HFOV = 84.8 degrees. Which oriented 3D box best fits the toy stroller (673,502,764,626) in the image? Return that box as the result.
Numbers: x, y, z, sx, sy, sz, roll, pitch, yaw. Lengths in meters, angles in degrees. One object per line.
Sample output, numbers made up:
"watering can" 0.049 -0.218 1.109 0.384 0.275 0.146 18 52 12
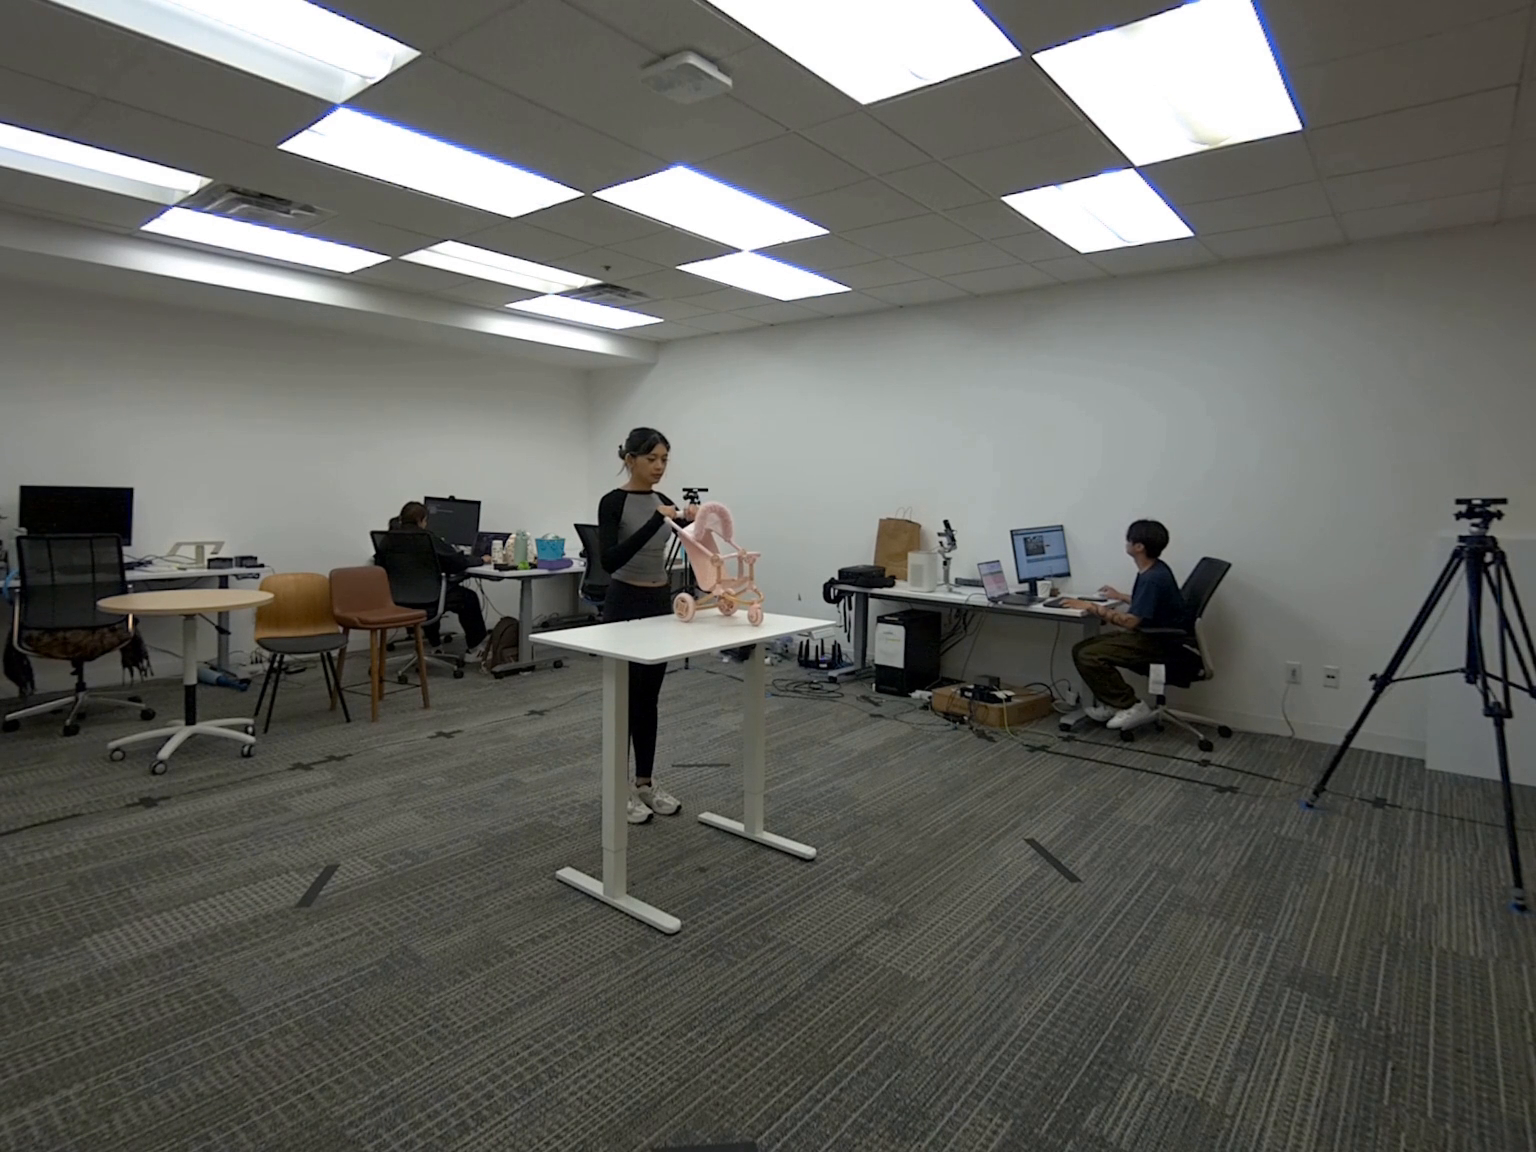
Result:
"toy stroller" -0.203 -0.054 3.274 0.273 0.541 0.348 -3 -12 -45
